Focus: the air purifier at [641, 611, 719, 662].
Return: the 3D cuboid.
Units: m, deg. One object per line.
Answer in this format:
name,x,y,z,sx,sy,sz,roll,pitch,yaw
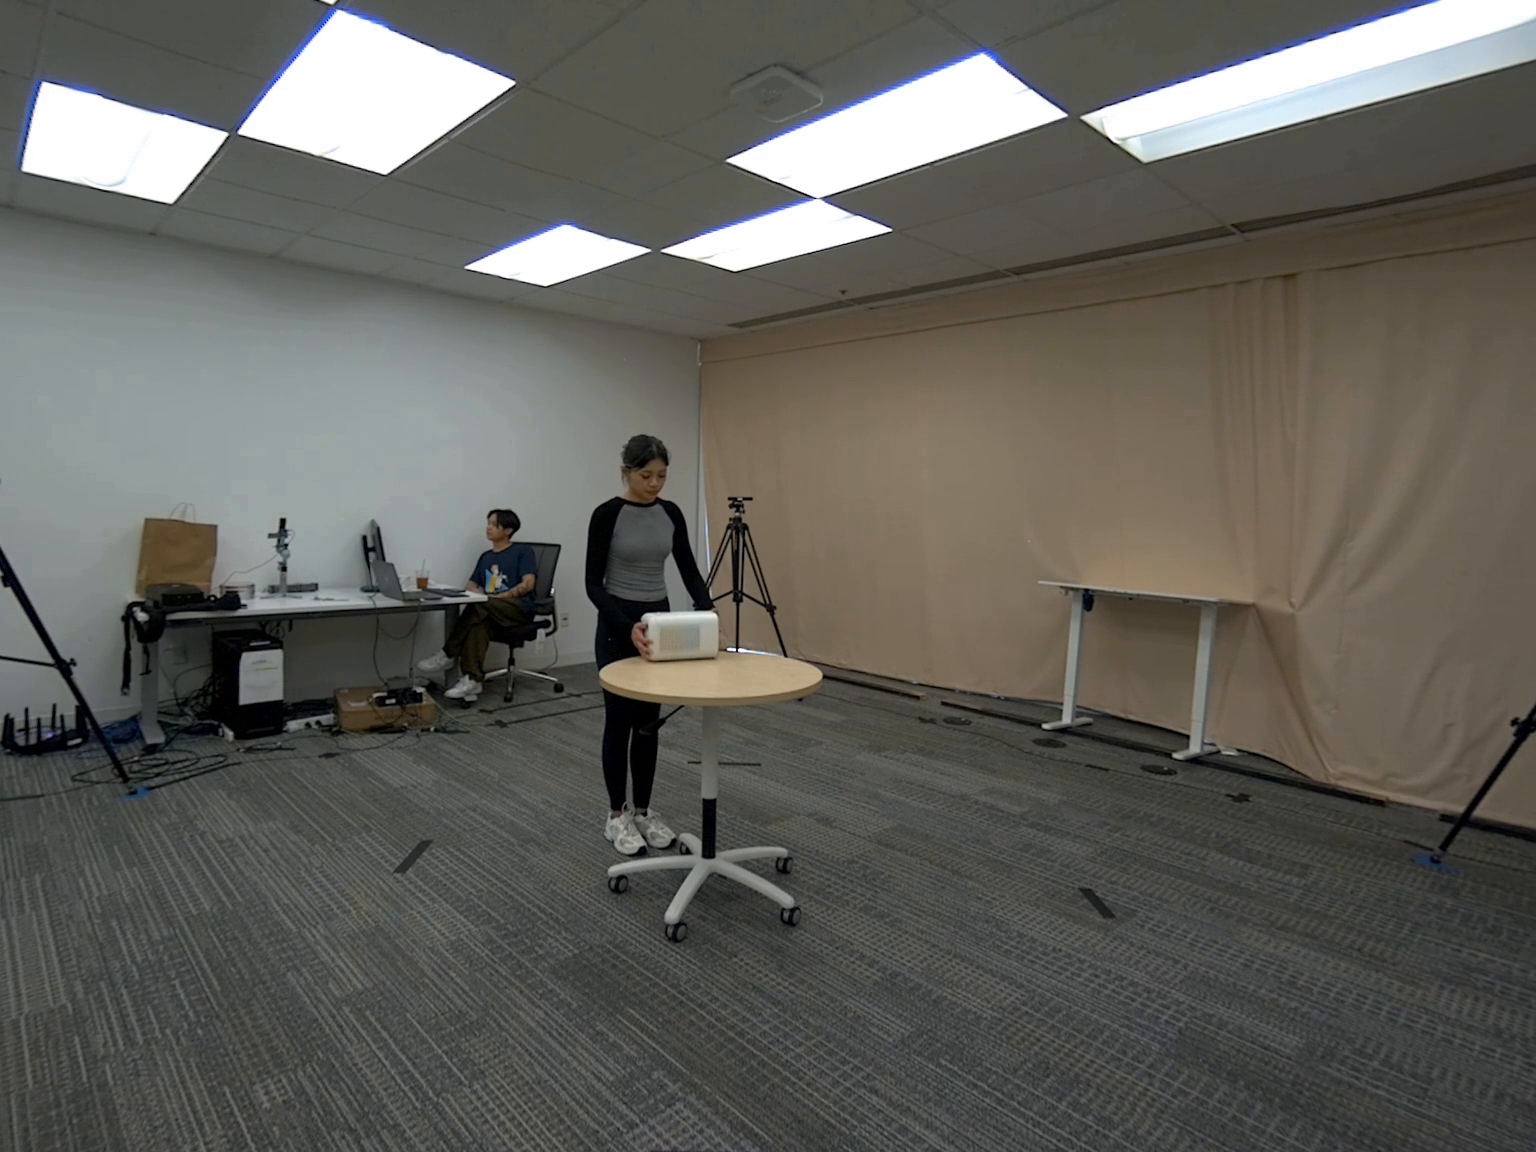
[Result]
air purifier,-0.344,0.220,3.133,0.262,0.171,0.173,0,2,-15
